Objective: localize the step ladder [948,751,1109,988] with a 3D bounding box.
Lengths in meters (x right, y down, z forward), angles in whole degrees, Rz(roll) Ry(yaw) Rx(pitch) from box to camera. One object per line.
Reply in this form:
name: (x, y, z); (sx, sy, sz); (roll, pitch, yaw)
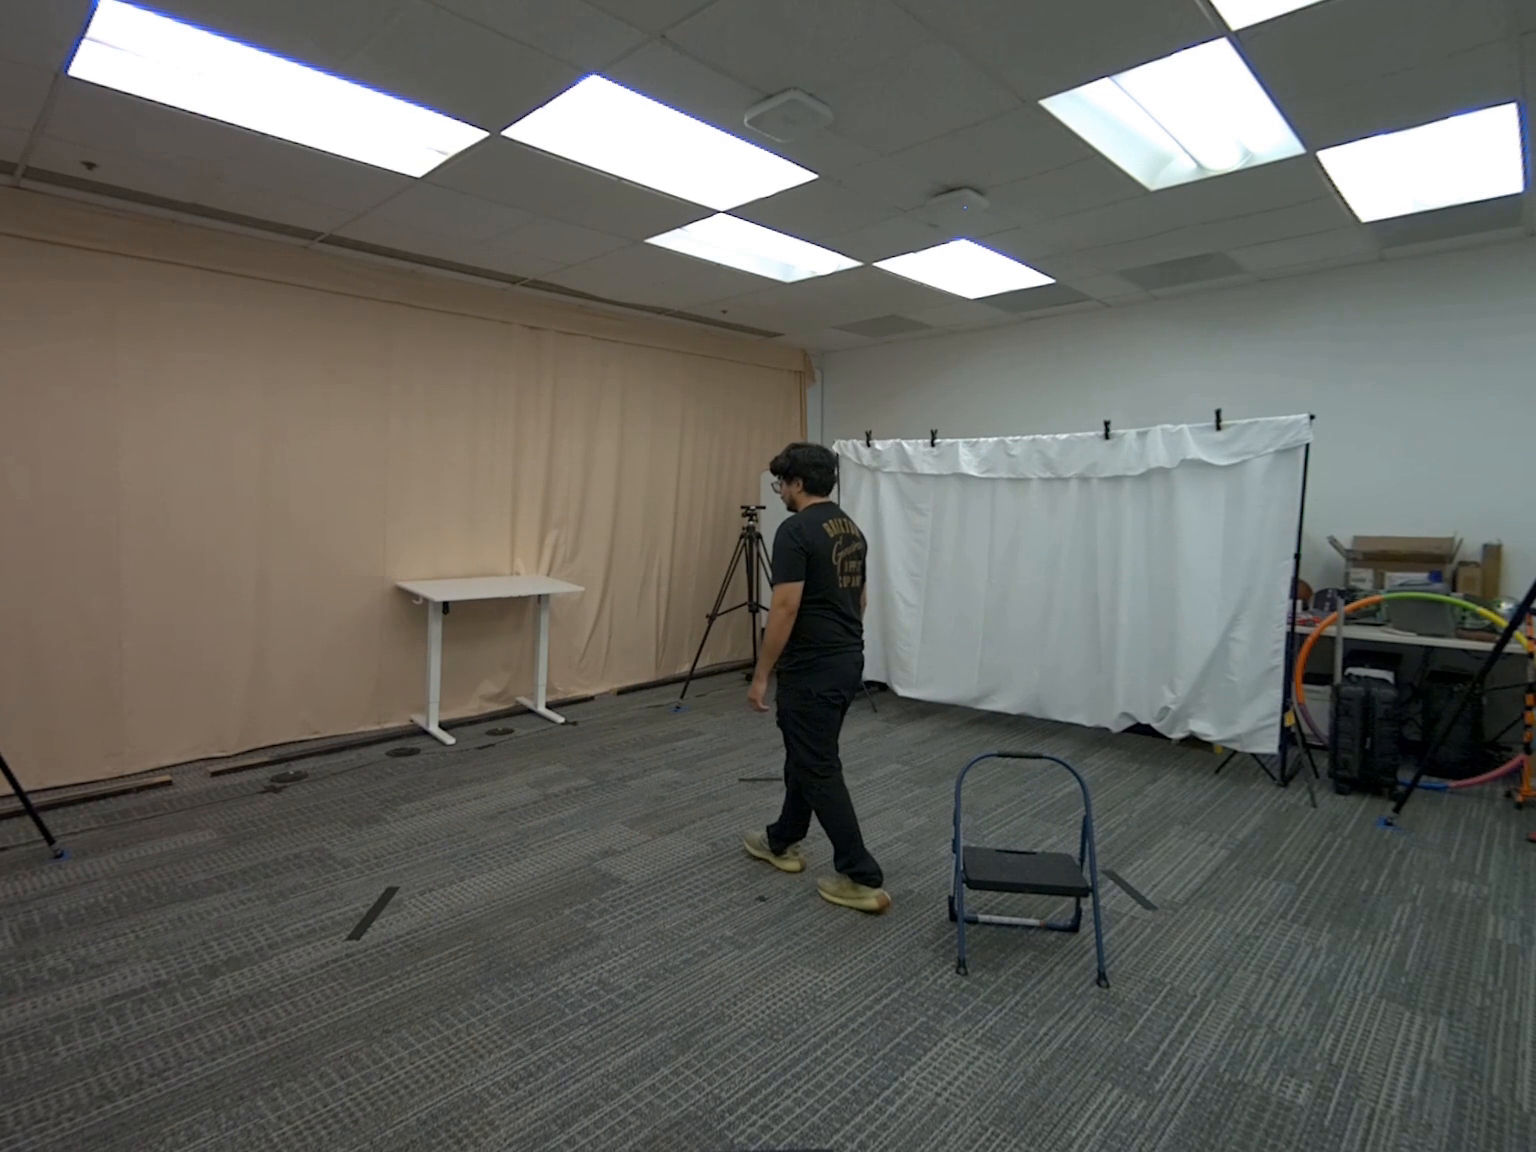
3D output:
step ladder: (0.802, 0.870, 2.615); (0.435, 0.605, 0.347); (1, 3, 8)
